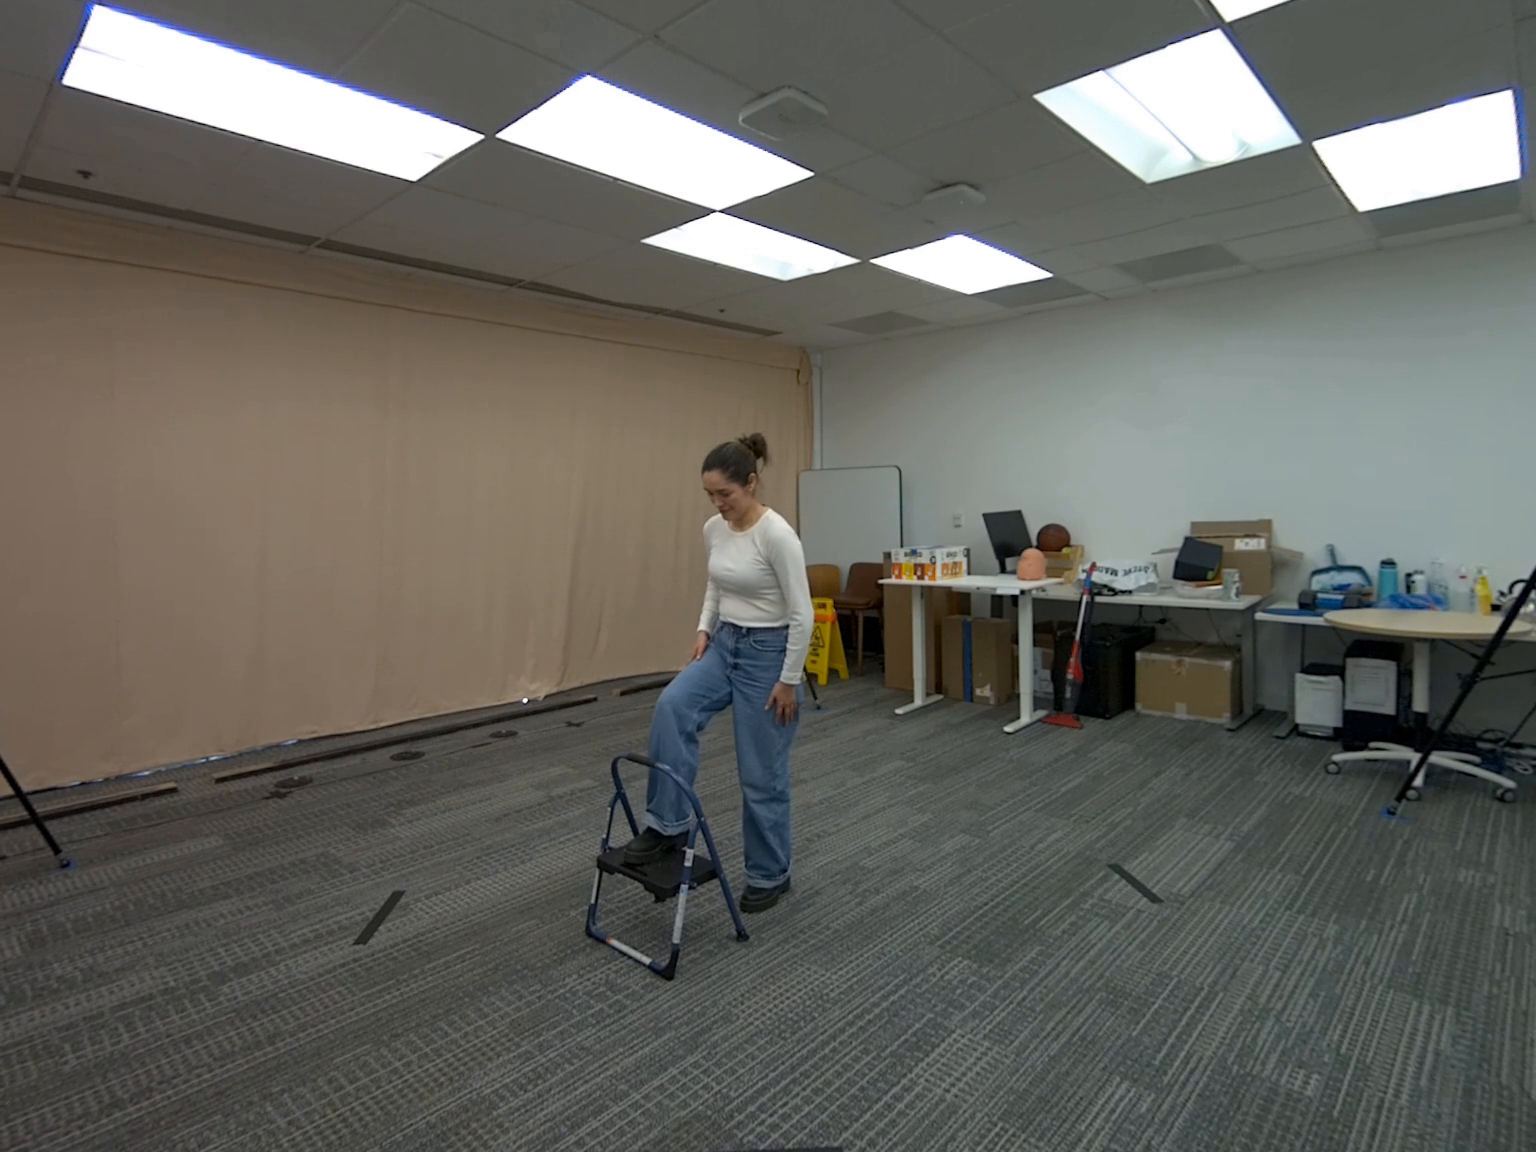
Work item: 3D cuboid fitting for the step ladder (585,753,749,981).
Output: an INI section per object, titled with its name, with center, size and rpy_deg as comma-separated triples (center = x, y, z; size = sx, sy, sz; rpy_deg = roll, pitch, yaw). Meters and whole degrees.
[step ladder]
center = -0.335, 0.865, 2.715
size = 0.445, 0.605, 0.339
rpy_deg = 1, 4, 42
